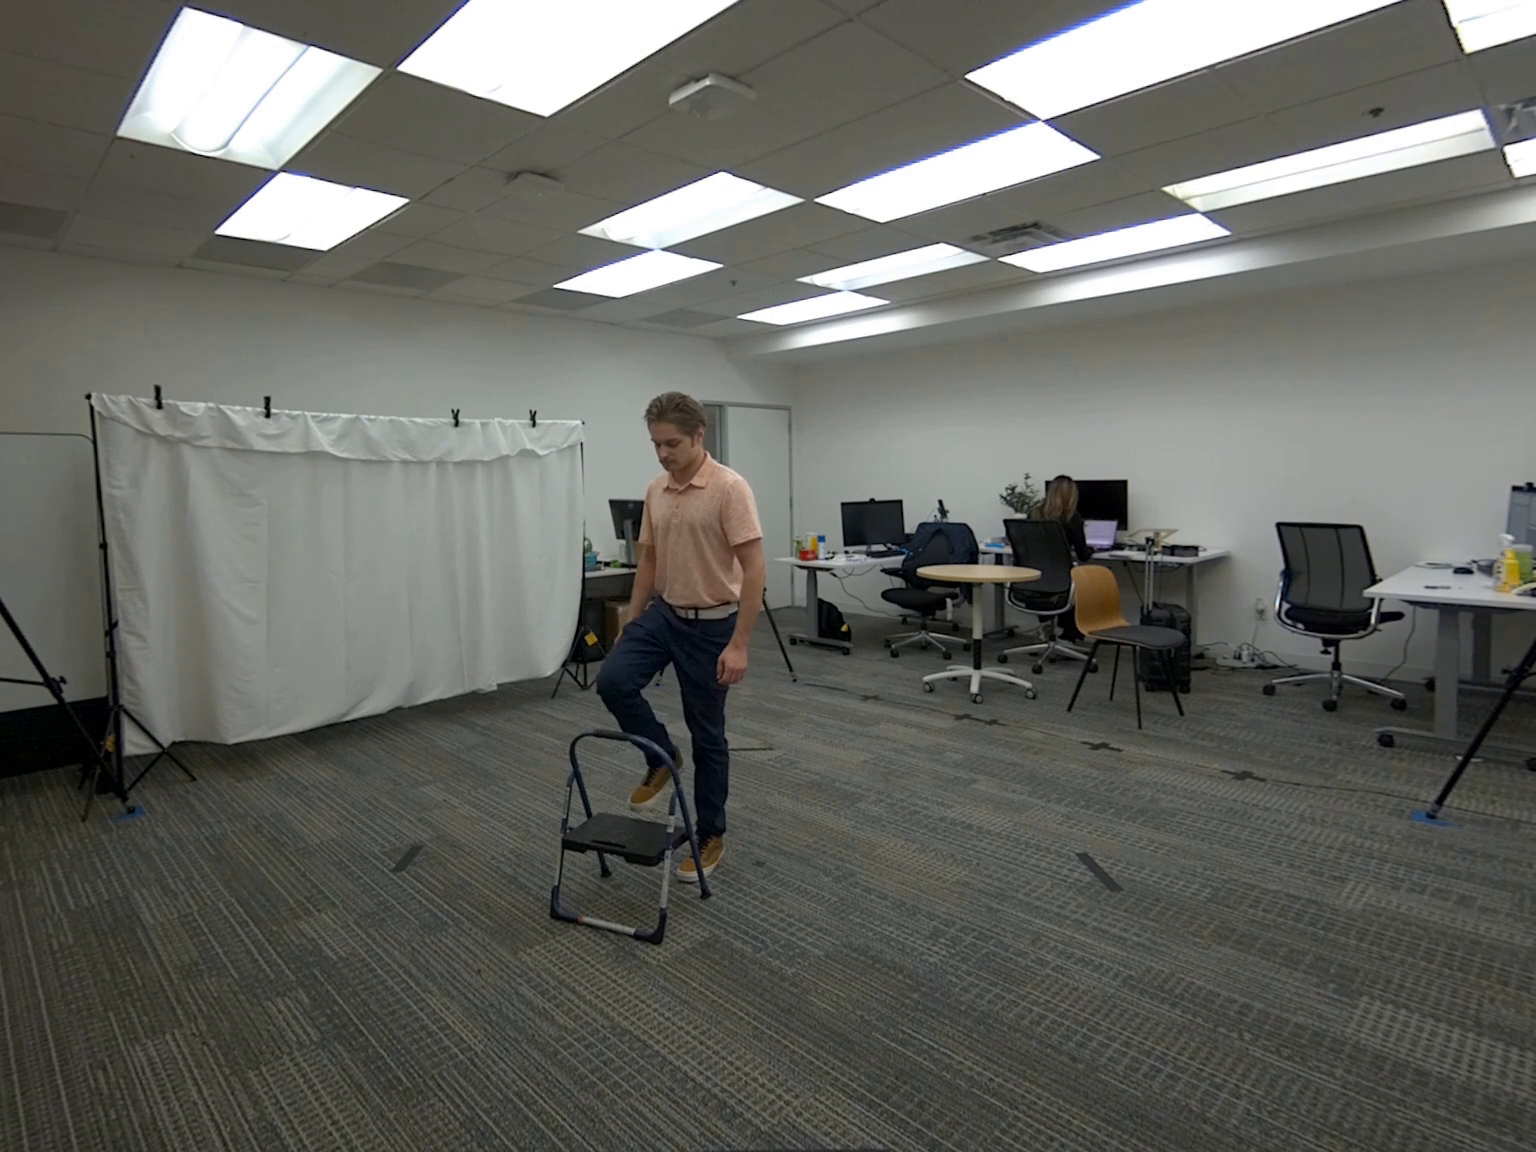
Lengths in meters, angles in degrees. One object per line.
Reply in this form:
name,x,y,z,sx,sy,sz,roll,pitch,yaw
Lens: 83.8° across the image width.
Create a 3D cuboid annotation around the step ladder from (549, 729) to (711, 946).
step ladder,-0.456,0.788,2.791,0.440,0.603,0.343,1,5,24
